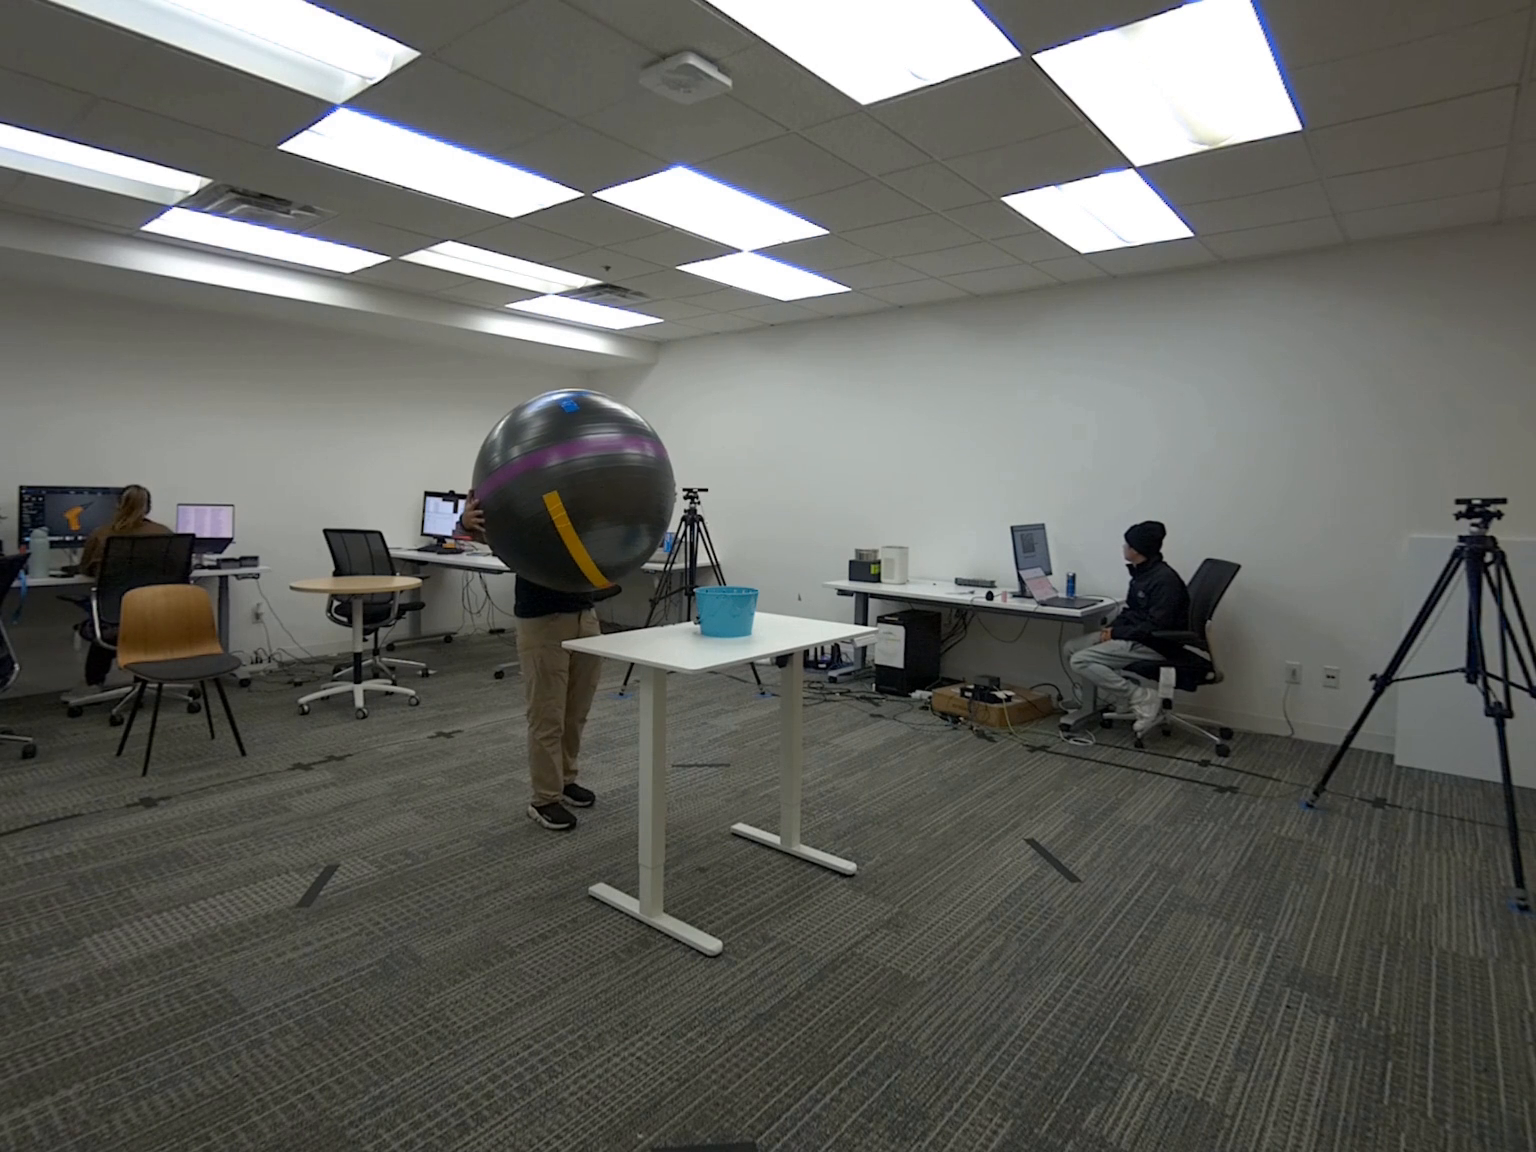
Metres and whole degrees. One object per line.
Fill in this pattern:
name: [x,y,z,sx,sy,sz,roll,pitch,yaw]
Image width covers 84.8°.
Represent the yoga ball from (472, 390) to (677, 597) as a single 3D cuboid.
yoga ball: [-0.749,-0.316,3.202,0.757,0.755,0.762,1,4,-2]
